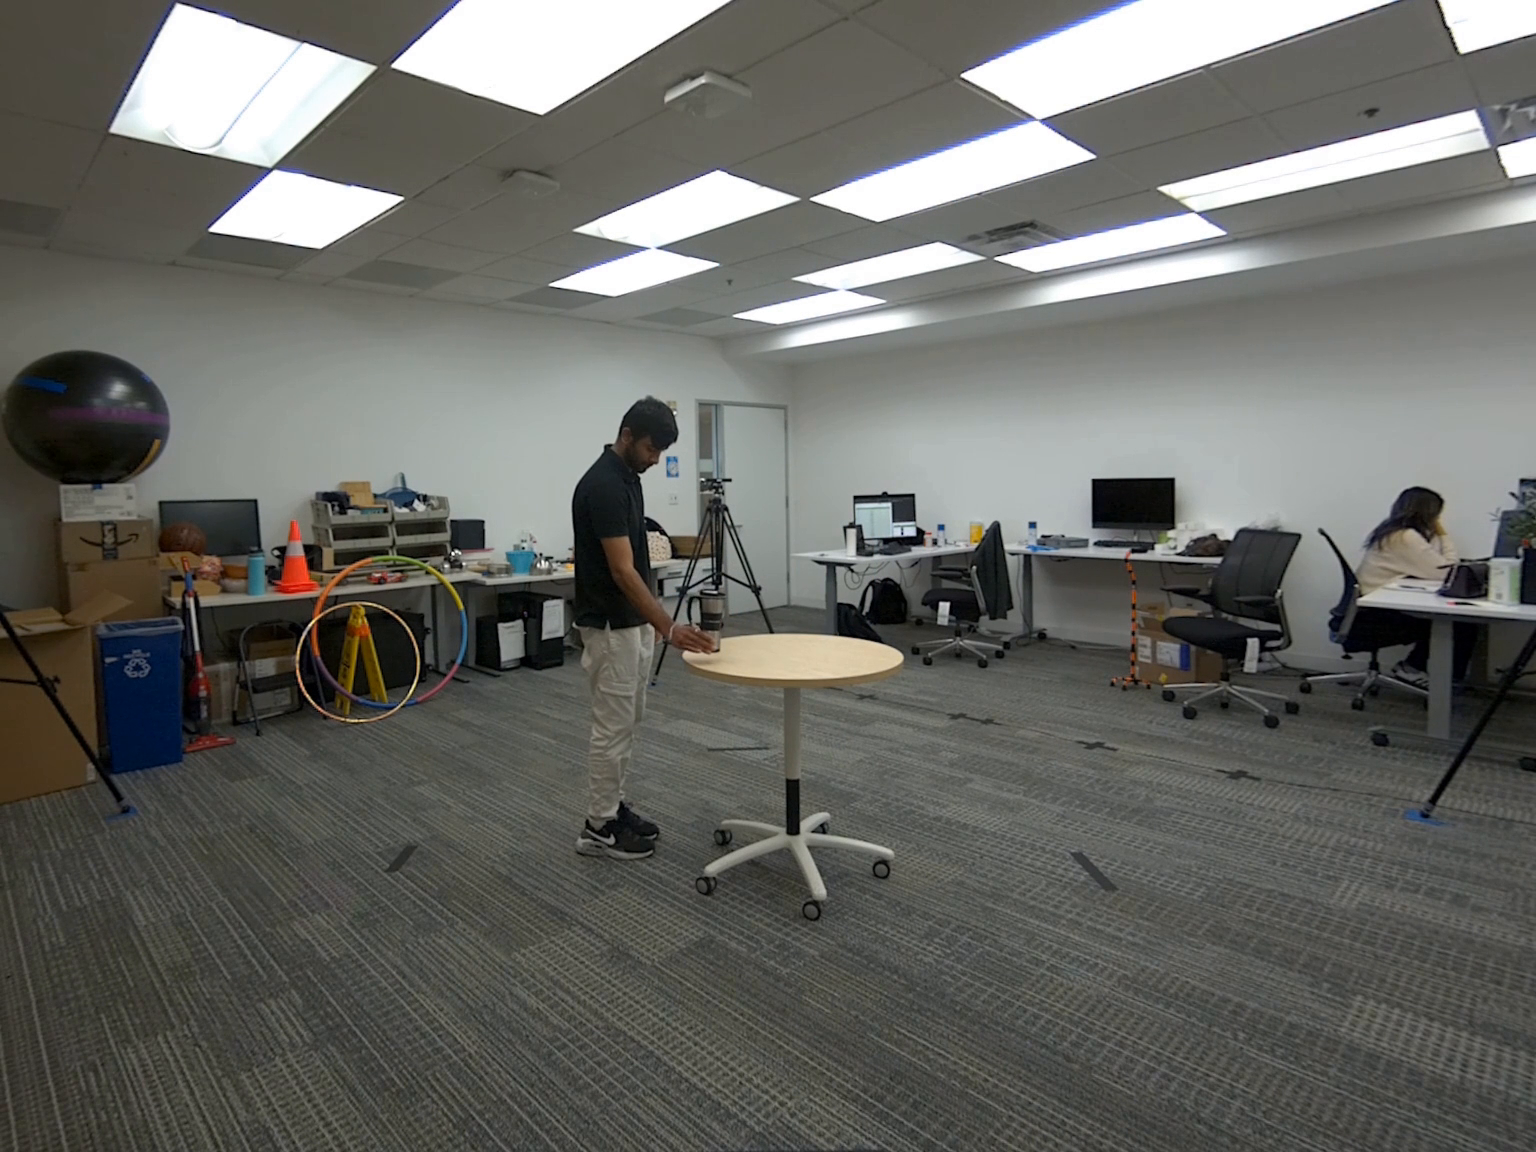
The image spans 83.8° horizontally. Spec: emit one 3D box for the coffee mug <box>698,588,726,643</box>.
[{"bbox_3d":[-0.201,0.146,2.867,0.125,0.202,0.086,7,6,30],"label":"coffee mug"}]
